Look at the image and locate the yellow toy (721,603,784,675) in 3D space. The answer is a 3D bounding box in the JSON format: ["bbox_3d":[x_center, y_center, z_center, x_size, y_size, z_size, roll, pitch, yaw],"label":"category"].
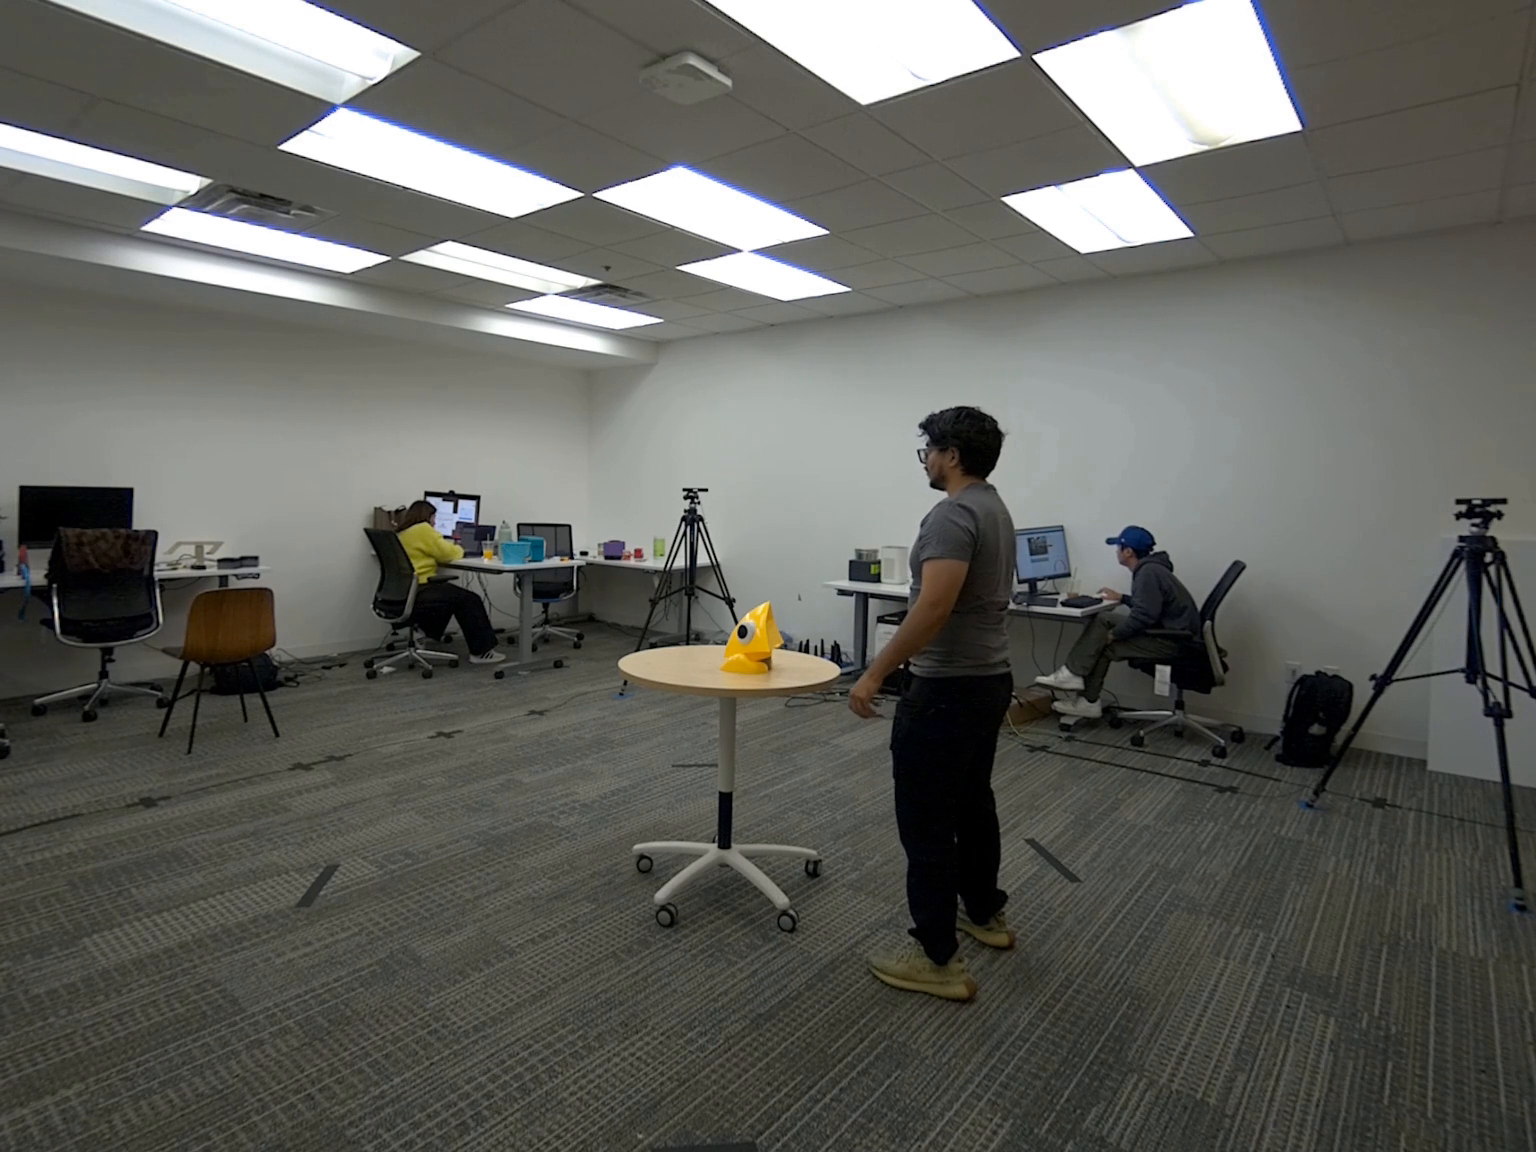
[{"bbox_3d":[-0.067,0.195,2.902,0.196,0.230,0.201,2,3,16],"label":"yellow toy"}]
